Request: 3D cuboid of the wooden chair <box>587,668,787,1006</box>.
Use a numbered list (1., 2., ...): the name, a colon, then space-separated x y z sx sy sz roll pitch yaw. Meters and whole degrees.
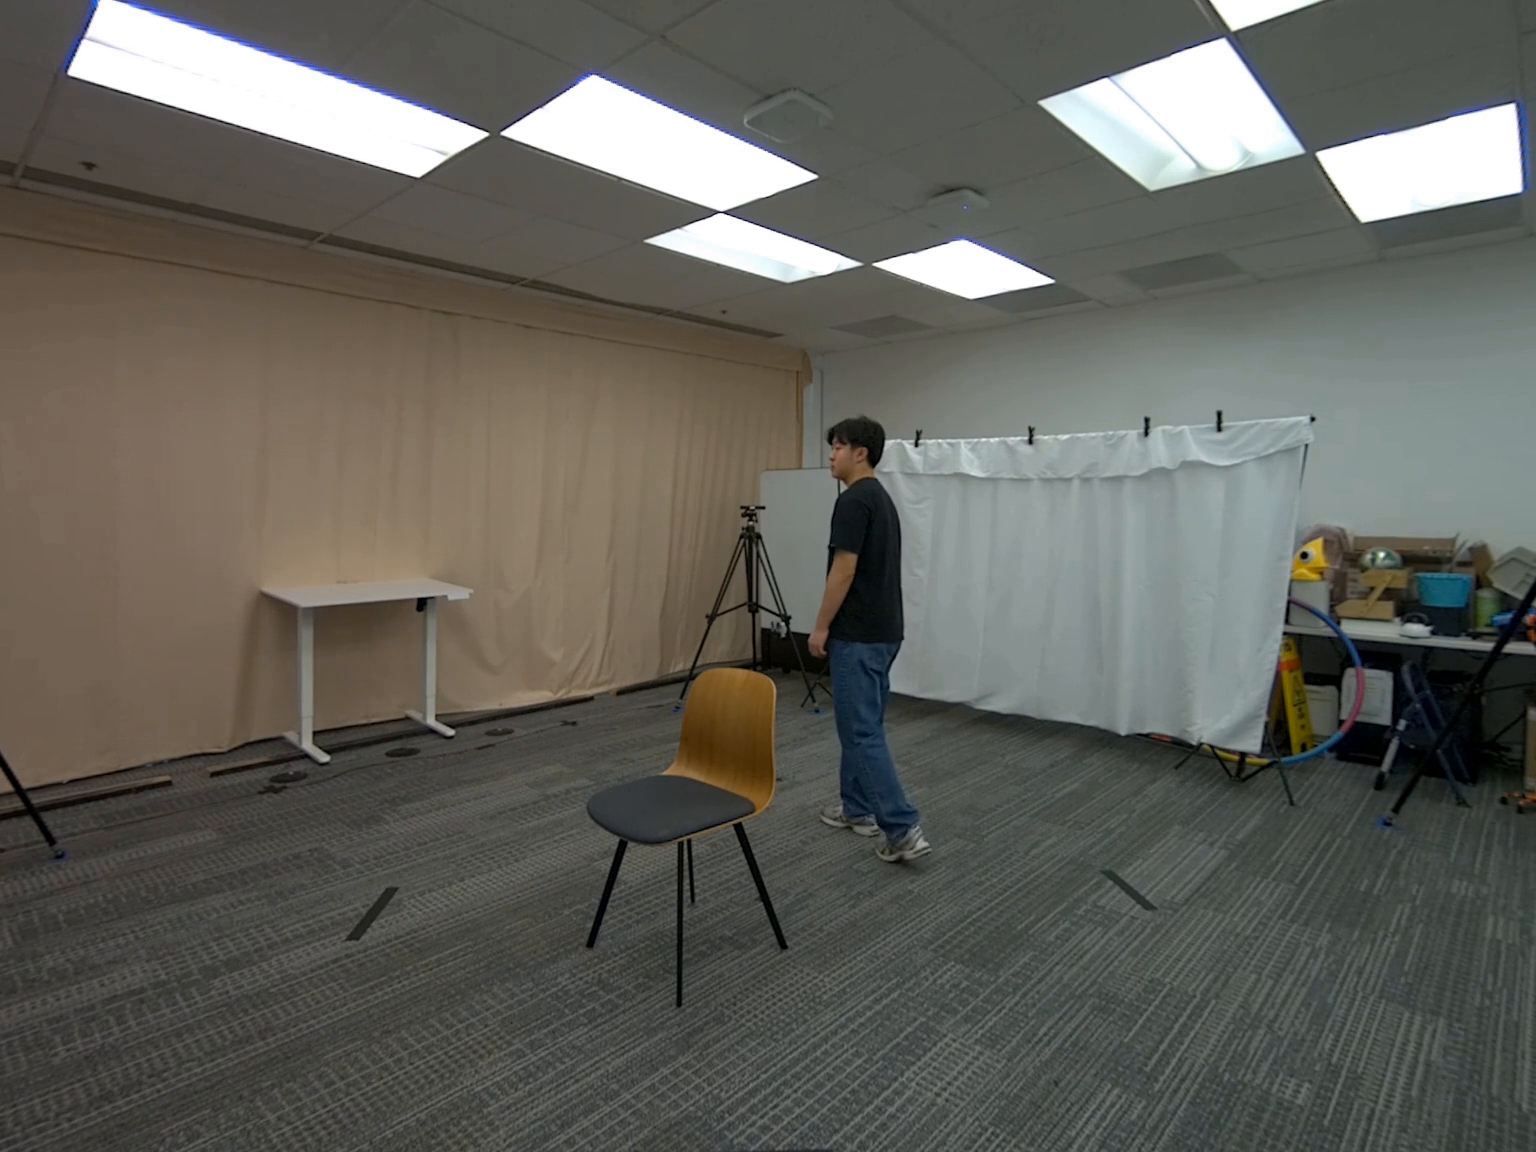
1. wooden chair: -0.258 0.748 2.620 0.494 0.877 0.506 3 1 45
